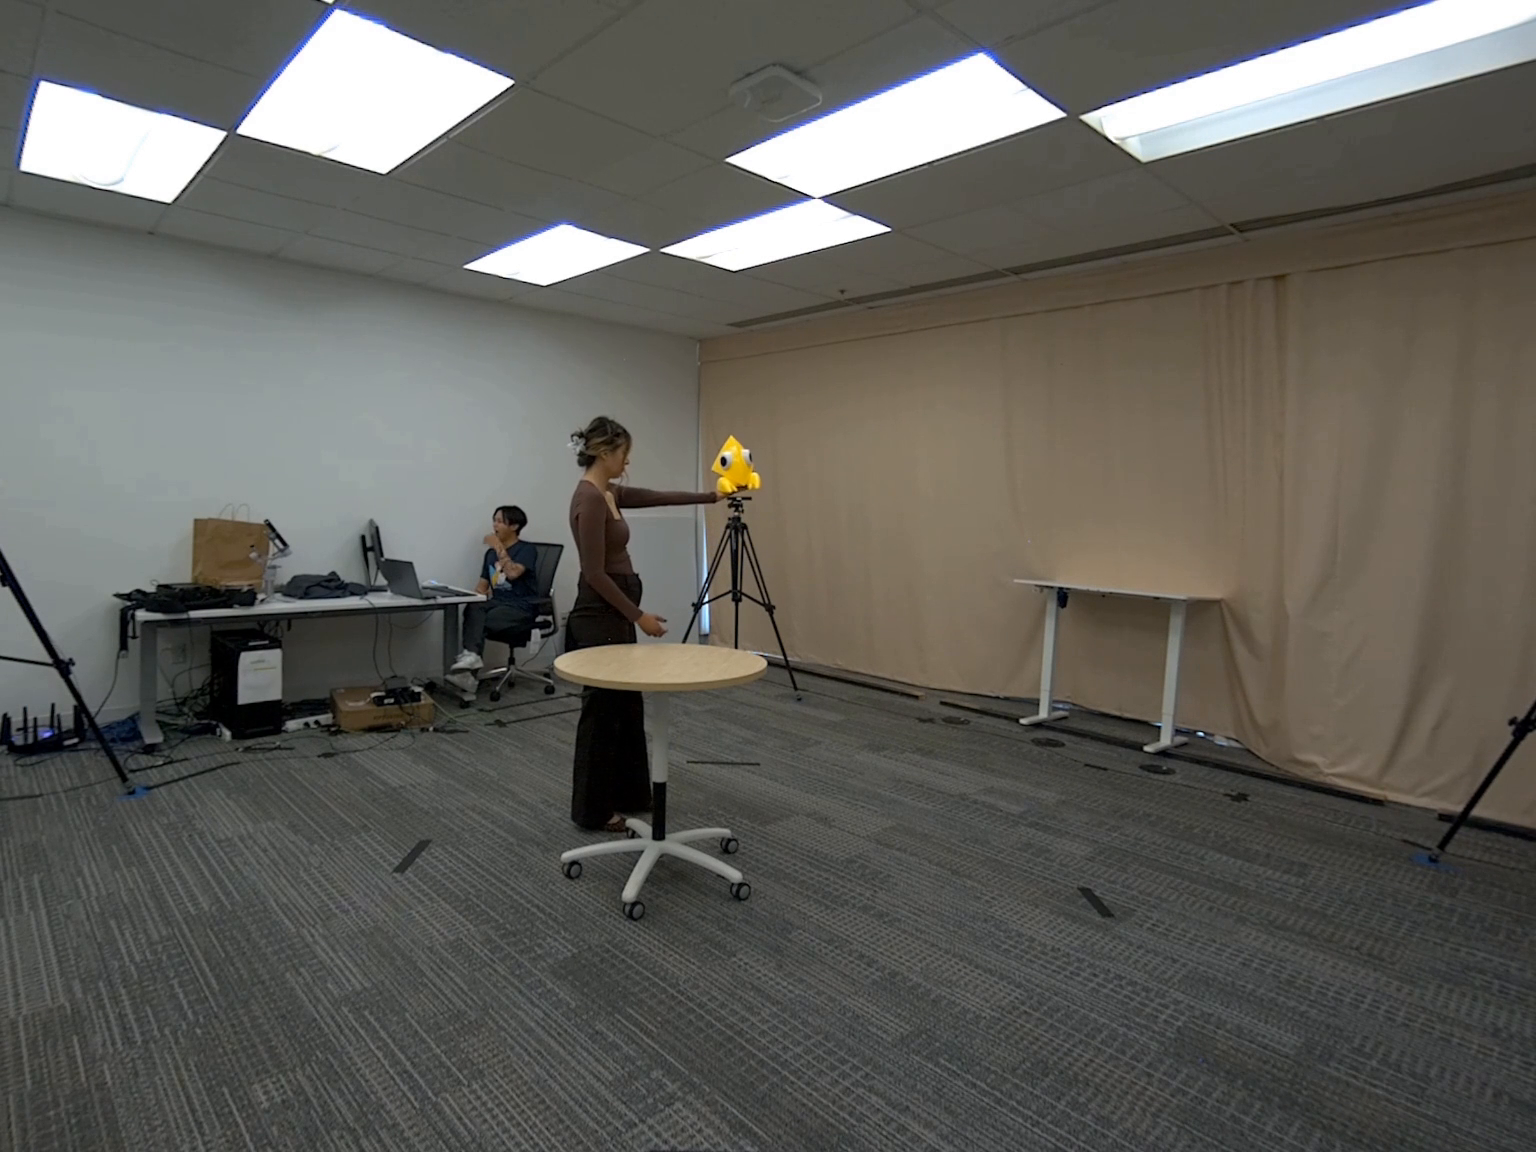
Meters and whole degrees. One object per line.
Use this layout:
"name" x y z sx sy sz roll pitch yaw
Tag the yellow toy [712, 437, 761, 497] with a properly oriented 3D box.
"yellow toy" -0.152 -0.520 3.863 0.203 0.227 0.197 -9 18 -14
